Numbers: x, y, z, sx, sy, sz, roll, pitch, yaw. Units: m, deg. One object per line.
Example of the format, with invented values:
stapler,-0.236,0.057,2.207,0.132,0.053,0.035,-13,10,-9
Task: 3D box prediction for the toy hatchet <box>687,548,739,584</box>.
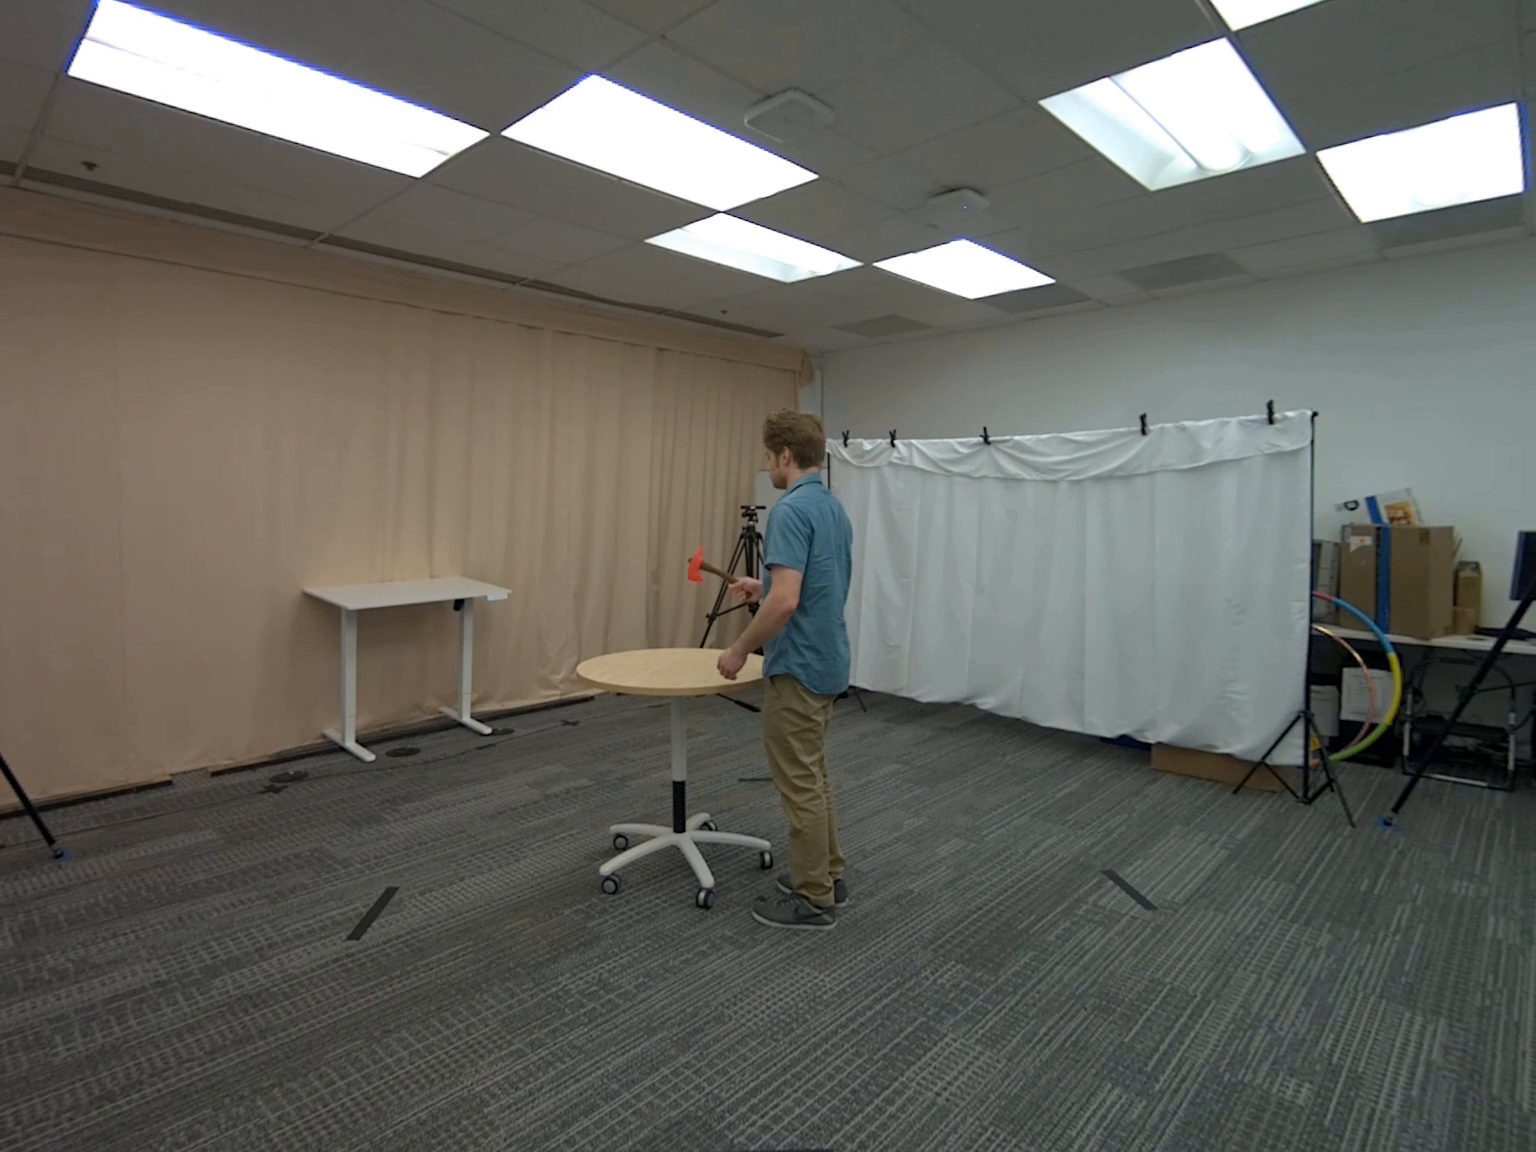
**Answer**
toy hatchet,-0.193,0.023,3.150,0.275,0.131,0.029,42,8,14
